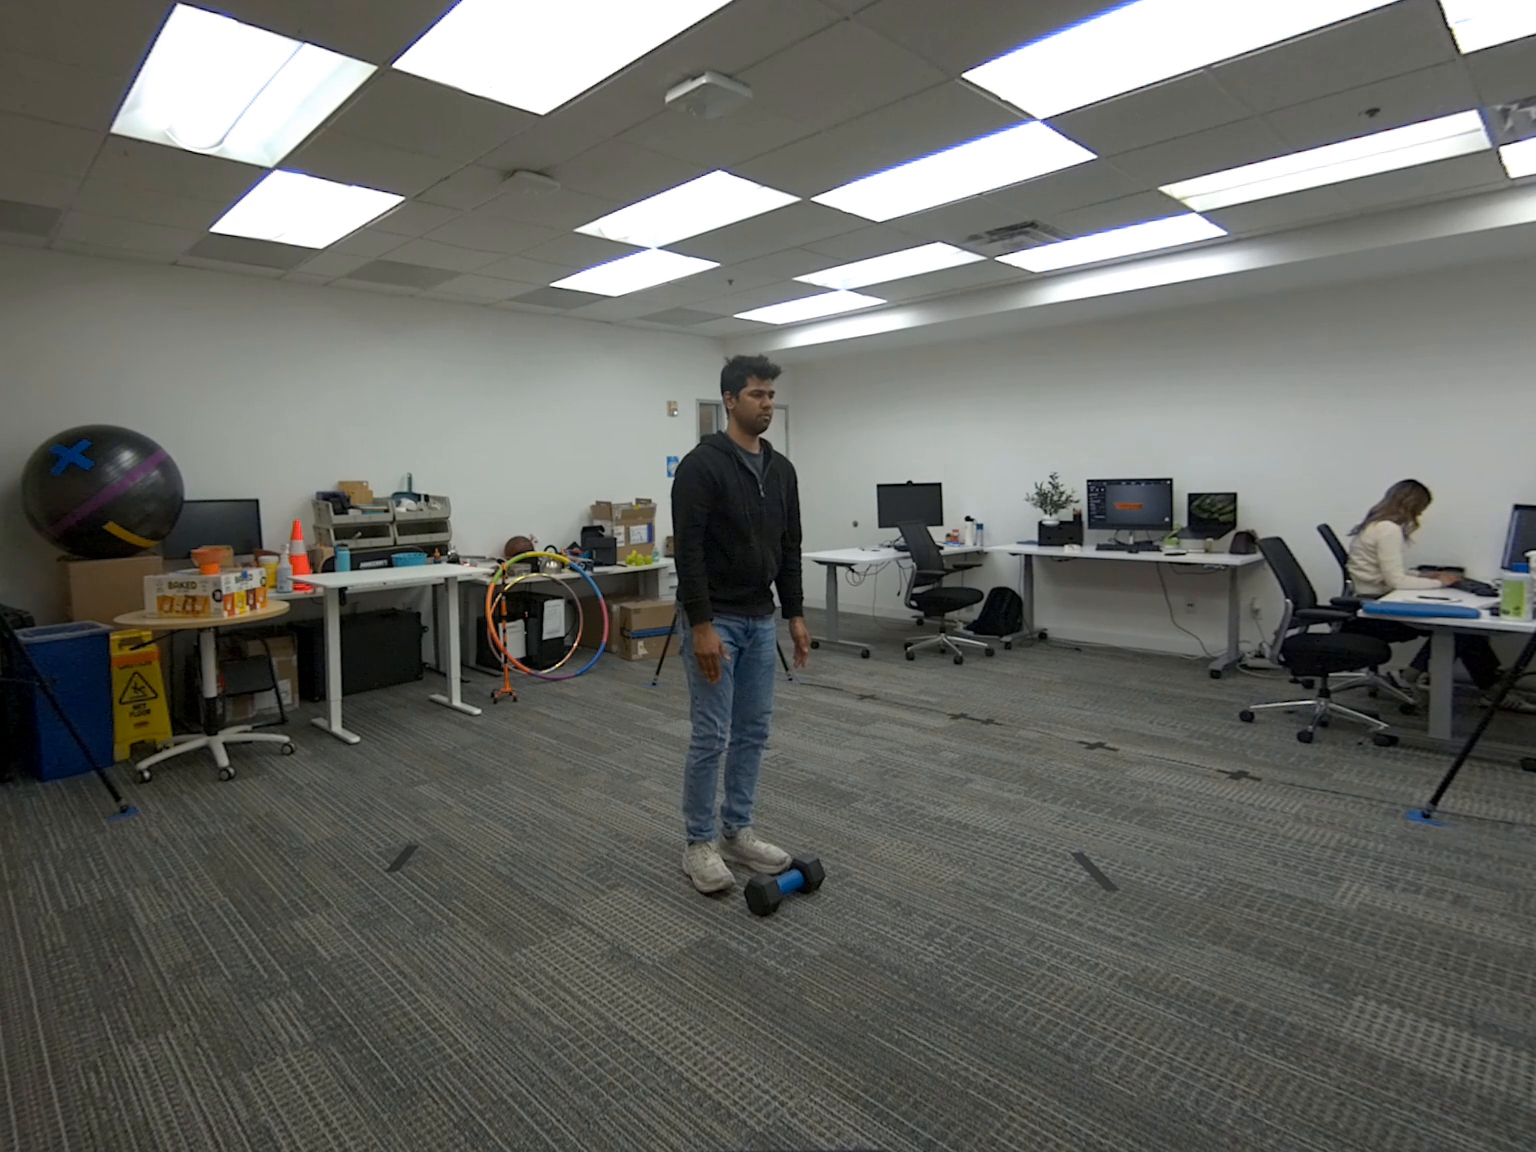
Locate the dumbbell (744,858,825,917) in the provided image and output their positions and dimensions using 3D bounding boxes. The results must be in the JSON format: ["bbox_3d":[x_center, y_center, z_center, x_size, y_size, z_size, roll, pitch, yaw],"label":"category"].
[{"bbox_3d":[0.063,1.019,2.830,0.286,0.121,0.113,-5,36,-43],"label":"dumbbell"}]
